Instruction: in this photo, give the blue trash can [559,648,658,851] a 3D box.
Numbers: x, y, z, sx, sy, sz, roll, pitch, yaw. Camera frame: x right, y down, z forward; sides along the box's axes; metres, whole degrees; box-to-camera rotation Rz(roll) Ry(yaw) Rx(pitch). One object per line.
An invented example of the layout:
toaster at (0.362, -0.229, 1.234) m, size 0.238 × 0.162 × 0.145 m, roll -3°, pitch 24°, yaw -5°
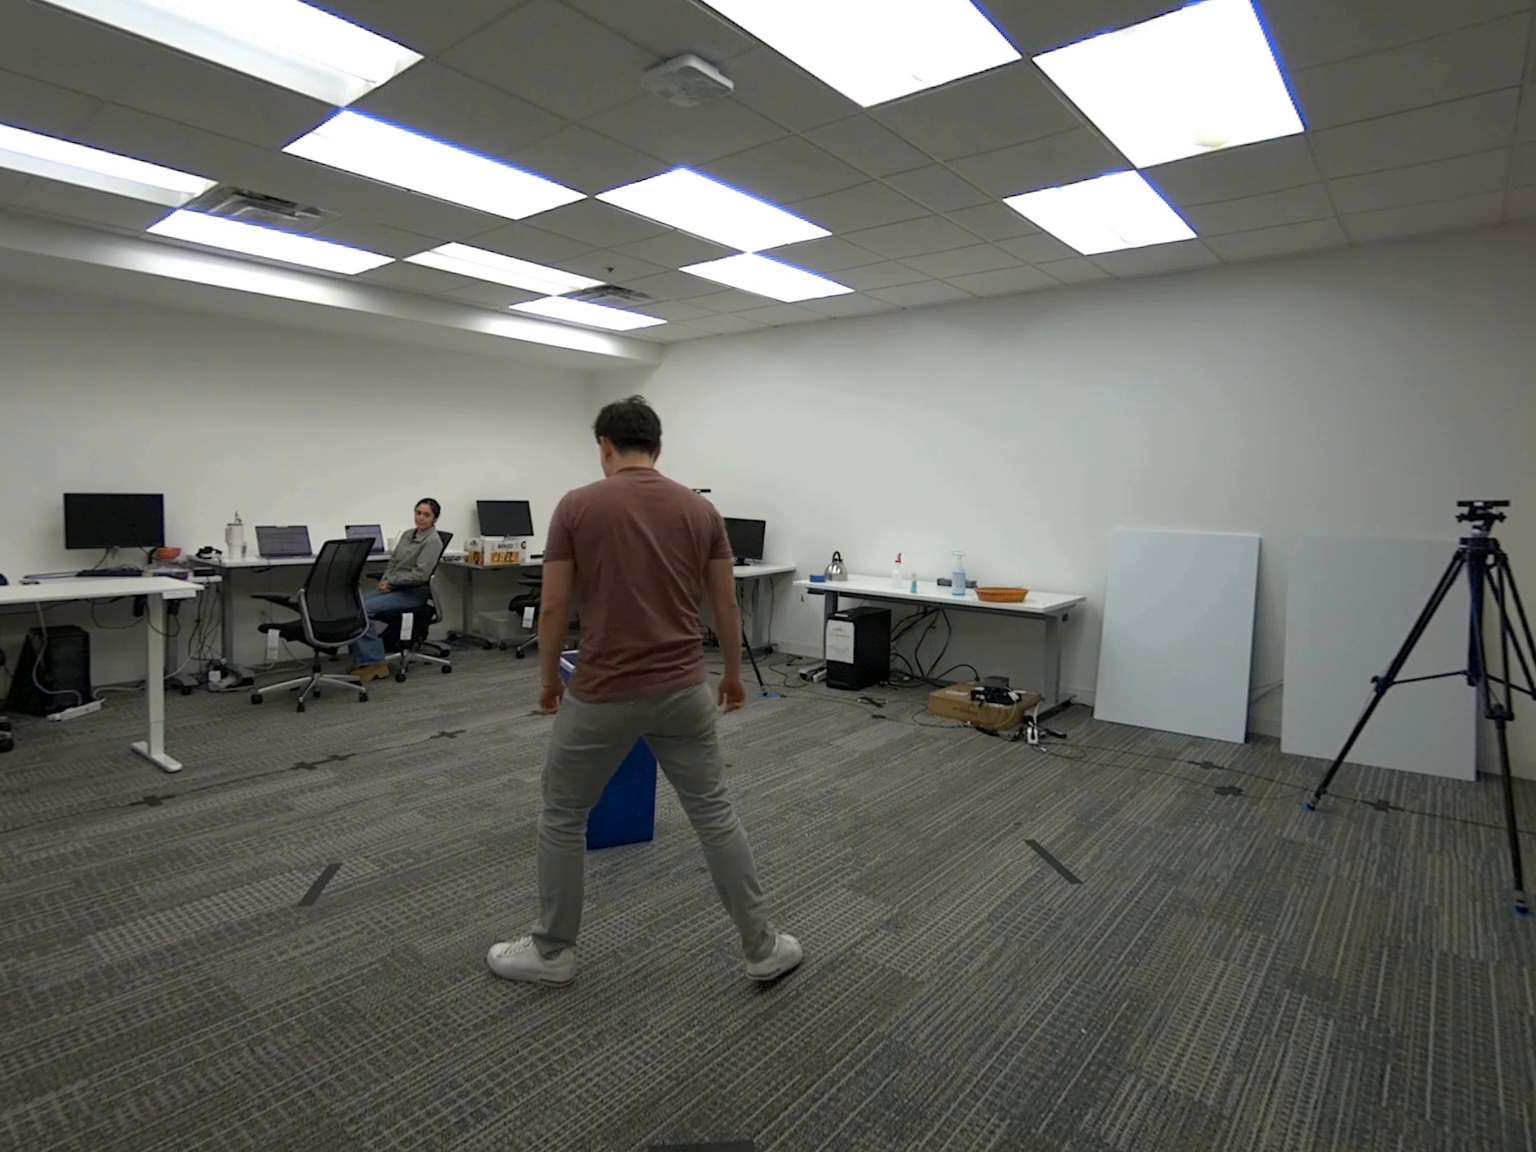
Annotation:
blue trash can at (-0.659, 0.675, 3.419) m, size 0.365 × 0.712 × 0.388 m, roll 0°, pitch 3°, yaw -27°
